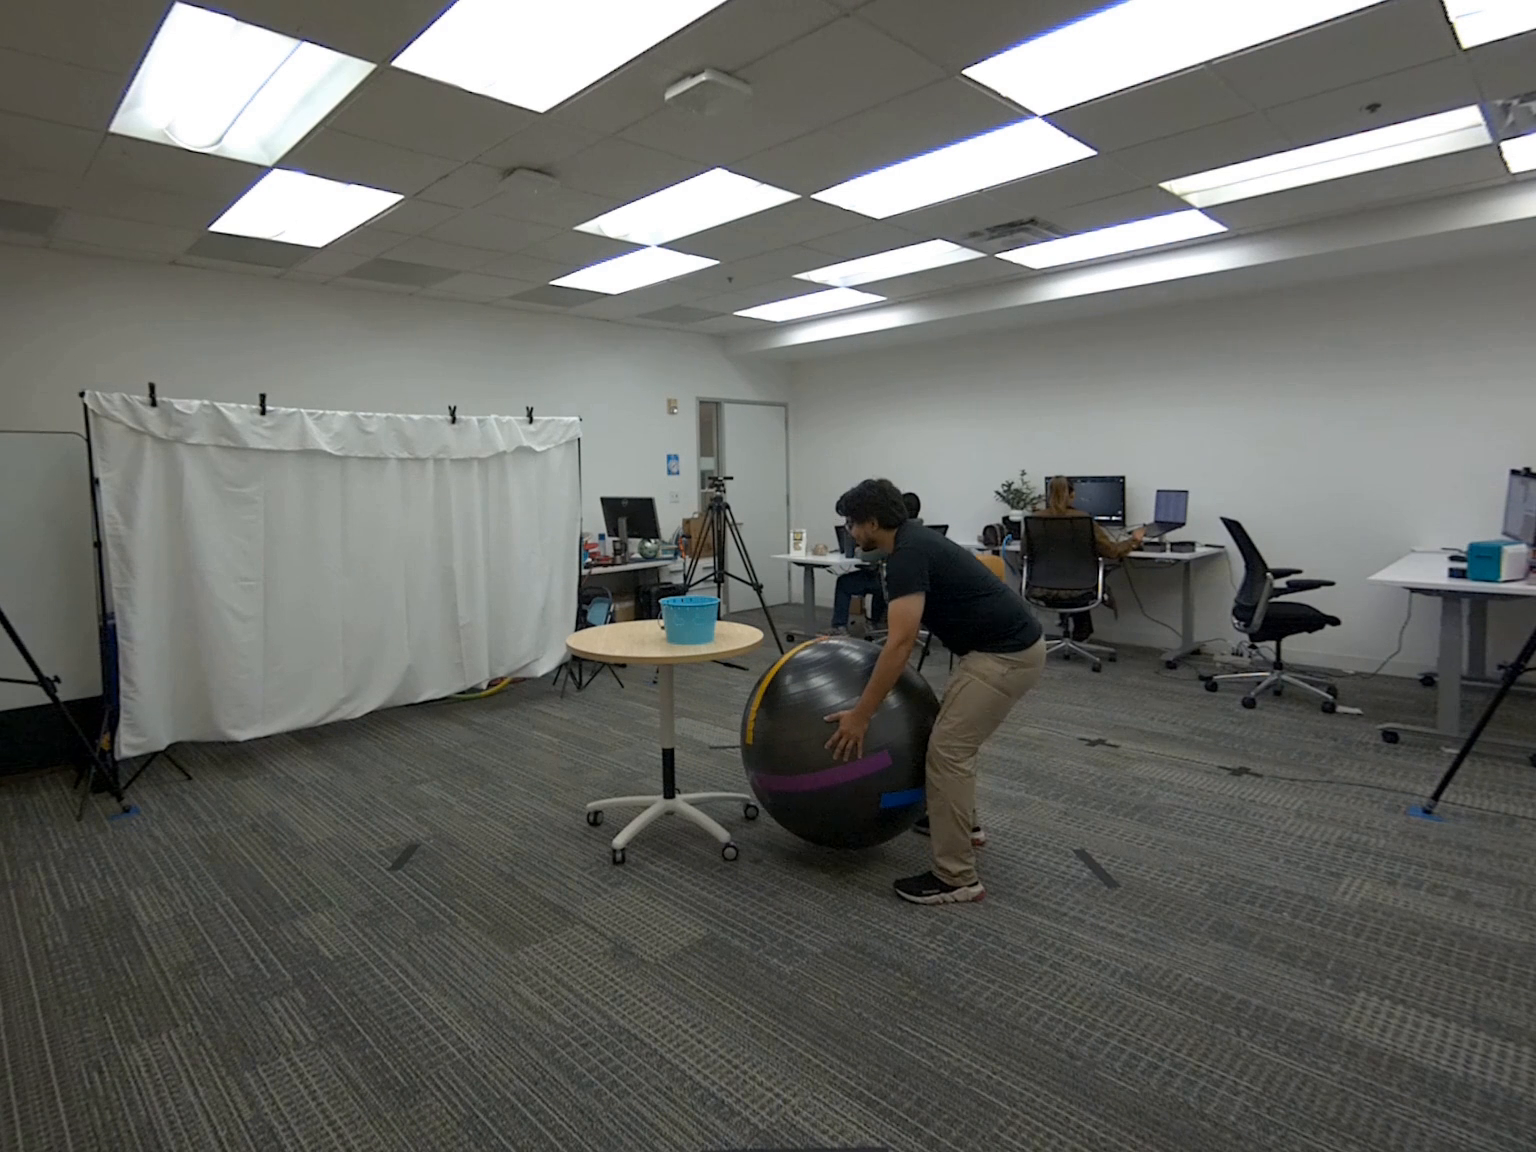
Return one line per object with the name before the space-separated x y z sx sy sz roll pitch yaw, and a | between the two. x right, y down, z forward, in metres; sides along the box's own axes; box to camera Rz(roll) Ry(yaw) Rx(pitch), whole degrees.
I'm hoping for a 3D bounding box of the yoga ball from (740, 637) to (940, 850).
yoga ball | 0.272 0.613 3.165 0.757 0.755 0.762 -1 5 -2
